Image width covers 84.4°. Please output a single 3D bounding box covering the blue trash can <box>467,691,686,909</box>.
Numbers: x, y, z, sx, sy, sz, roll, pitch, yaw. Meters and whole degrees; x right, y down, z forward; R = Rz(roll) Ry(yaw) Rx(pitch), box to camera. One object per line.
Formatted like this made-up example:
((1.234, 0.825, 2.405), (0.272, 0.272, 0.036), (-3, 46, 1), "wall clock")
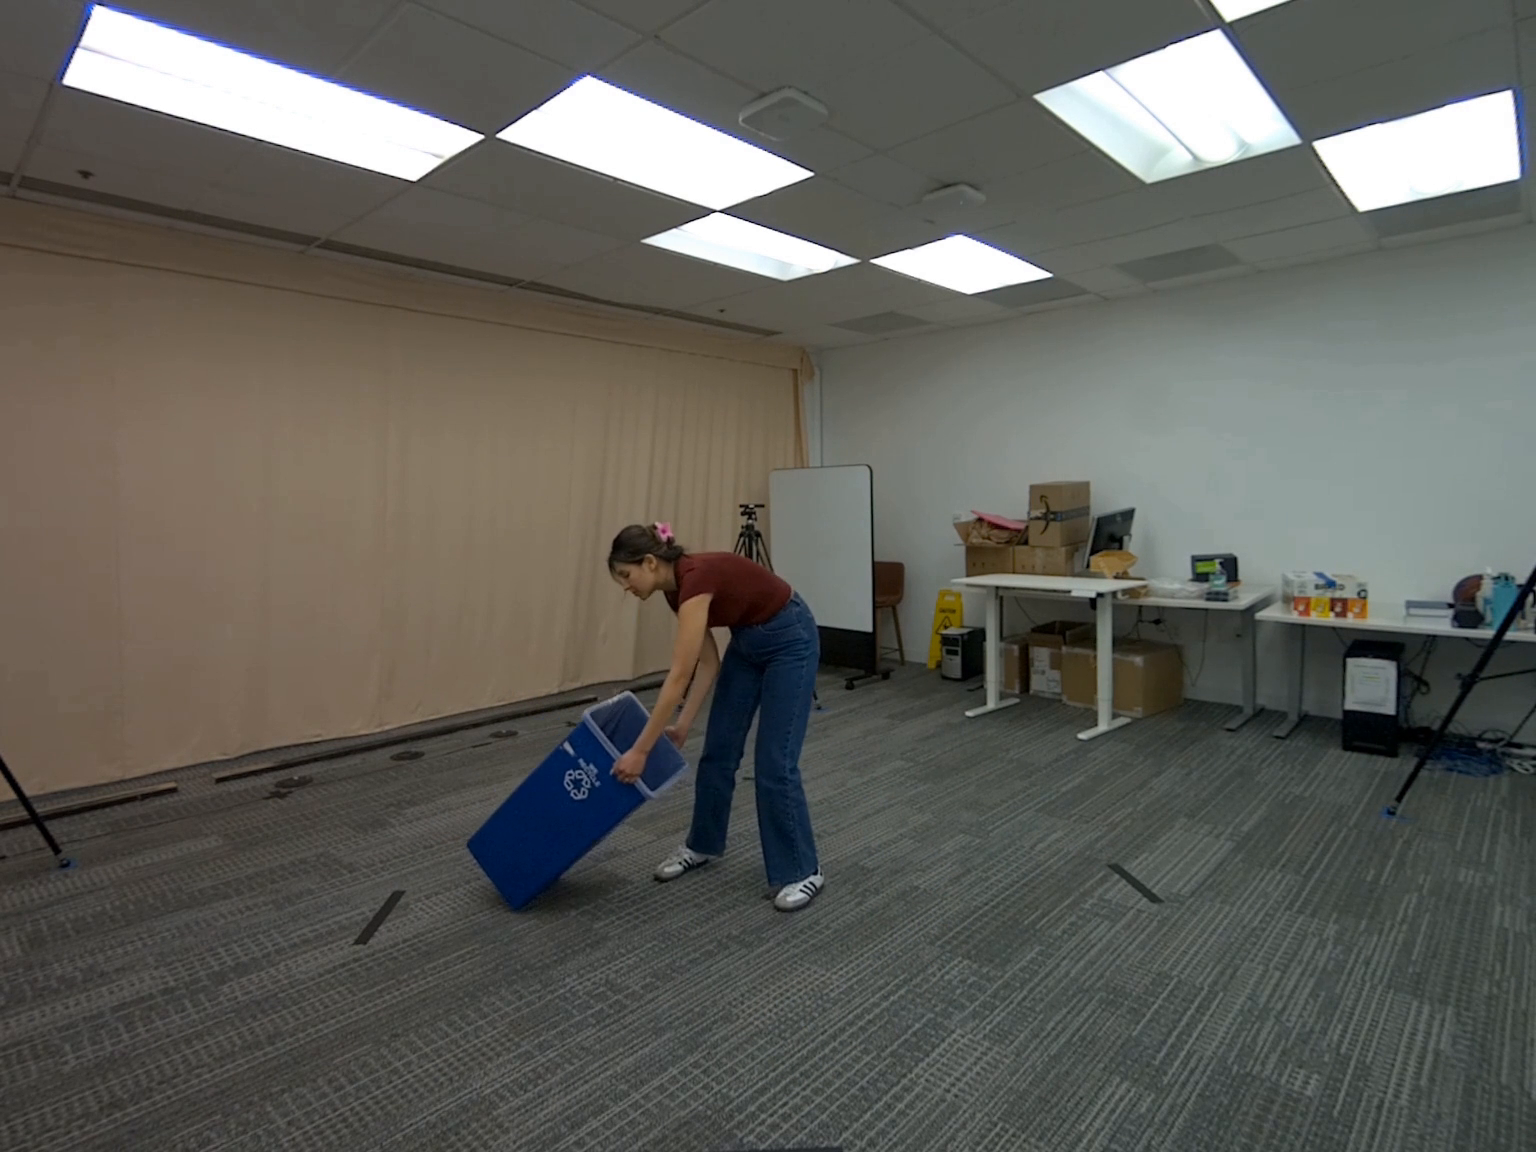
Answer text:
((-0.675, 0.809, 2.975), (0.717, 0.379, 0.372), (-45, -9, 15), "blue trash can")
